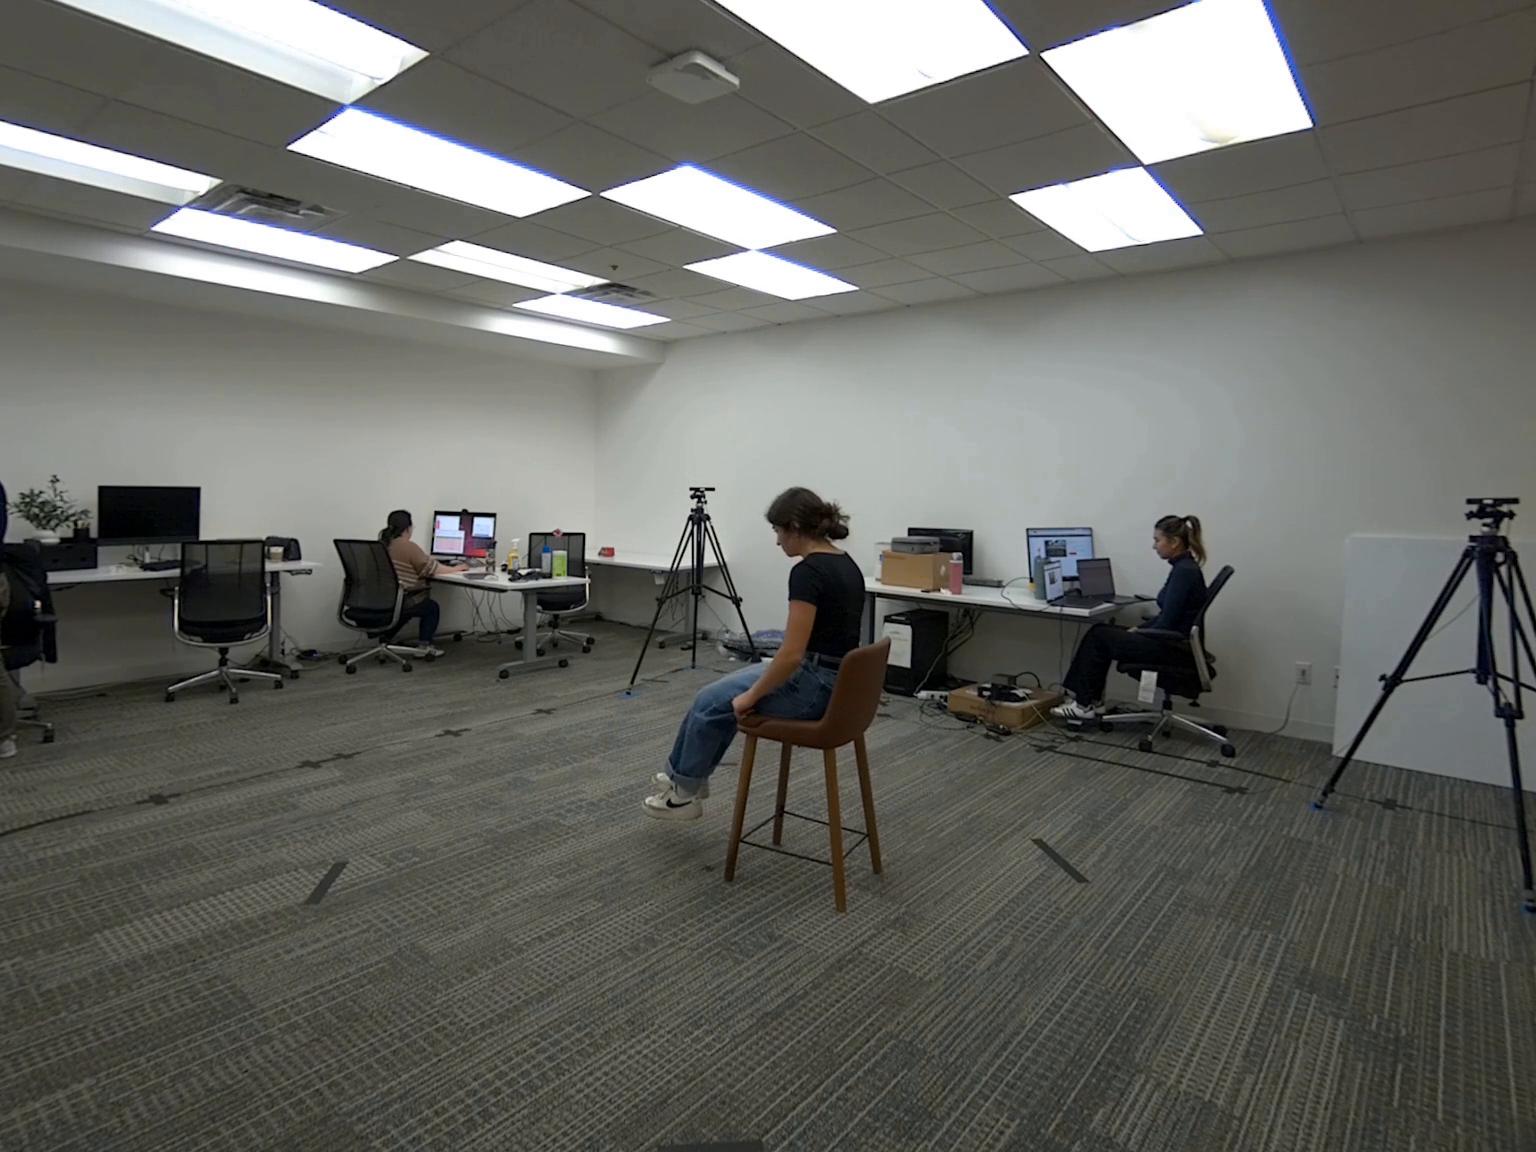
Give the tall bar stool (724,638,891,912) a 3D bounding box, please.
[{"bbox_3d":[0.149,0.647,3.043,0.481,0.886,0.445,5,5,29],"label":"tall bar stool"}]
